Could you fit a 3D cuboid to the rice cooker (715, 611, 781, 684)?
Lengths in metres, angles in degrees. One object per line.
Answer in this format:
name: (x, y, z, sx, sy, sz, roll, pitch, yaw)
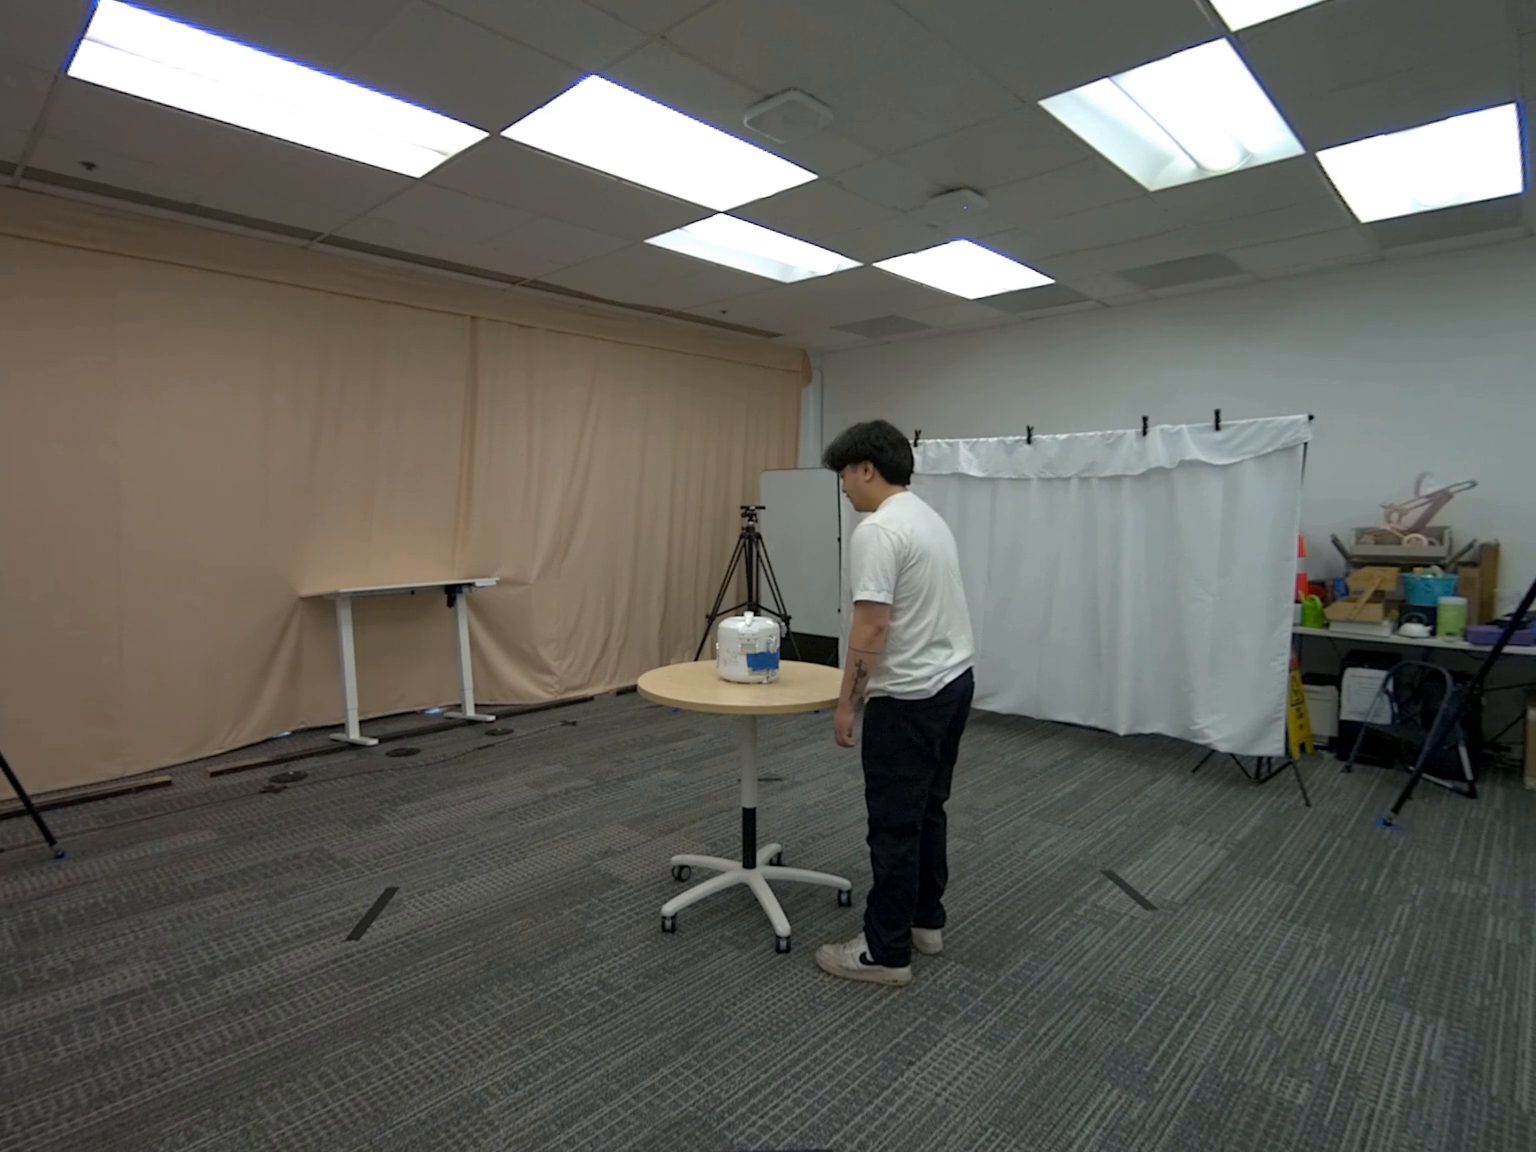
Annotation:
rice cooker: (-0.068, 0.238, 2.889, 0.218, 0.232, 0.220, 0, 3, 1)
